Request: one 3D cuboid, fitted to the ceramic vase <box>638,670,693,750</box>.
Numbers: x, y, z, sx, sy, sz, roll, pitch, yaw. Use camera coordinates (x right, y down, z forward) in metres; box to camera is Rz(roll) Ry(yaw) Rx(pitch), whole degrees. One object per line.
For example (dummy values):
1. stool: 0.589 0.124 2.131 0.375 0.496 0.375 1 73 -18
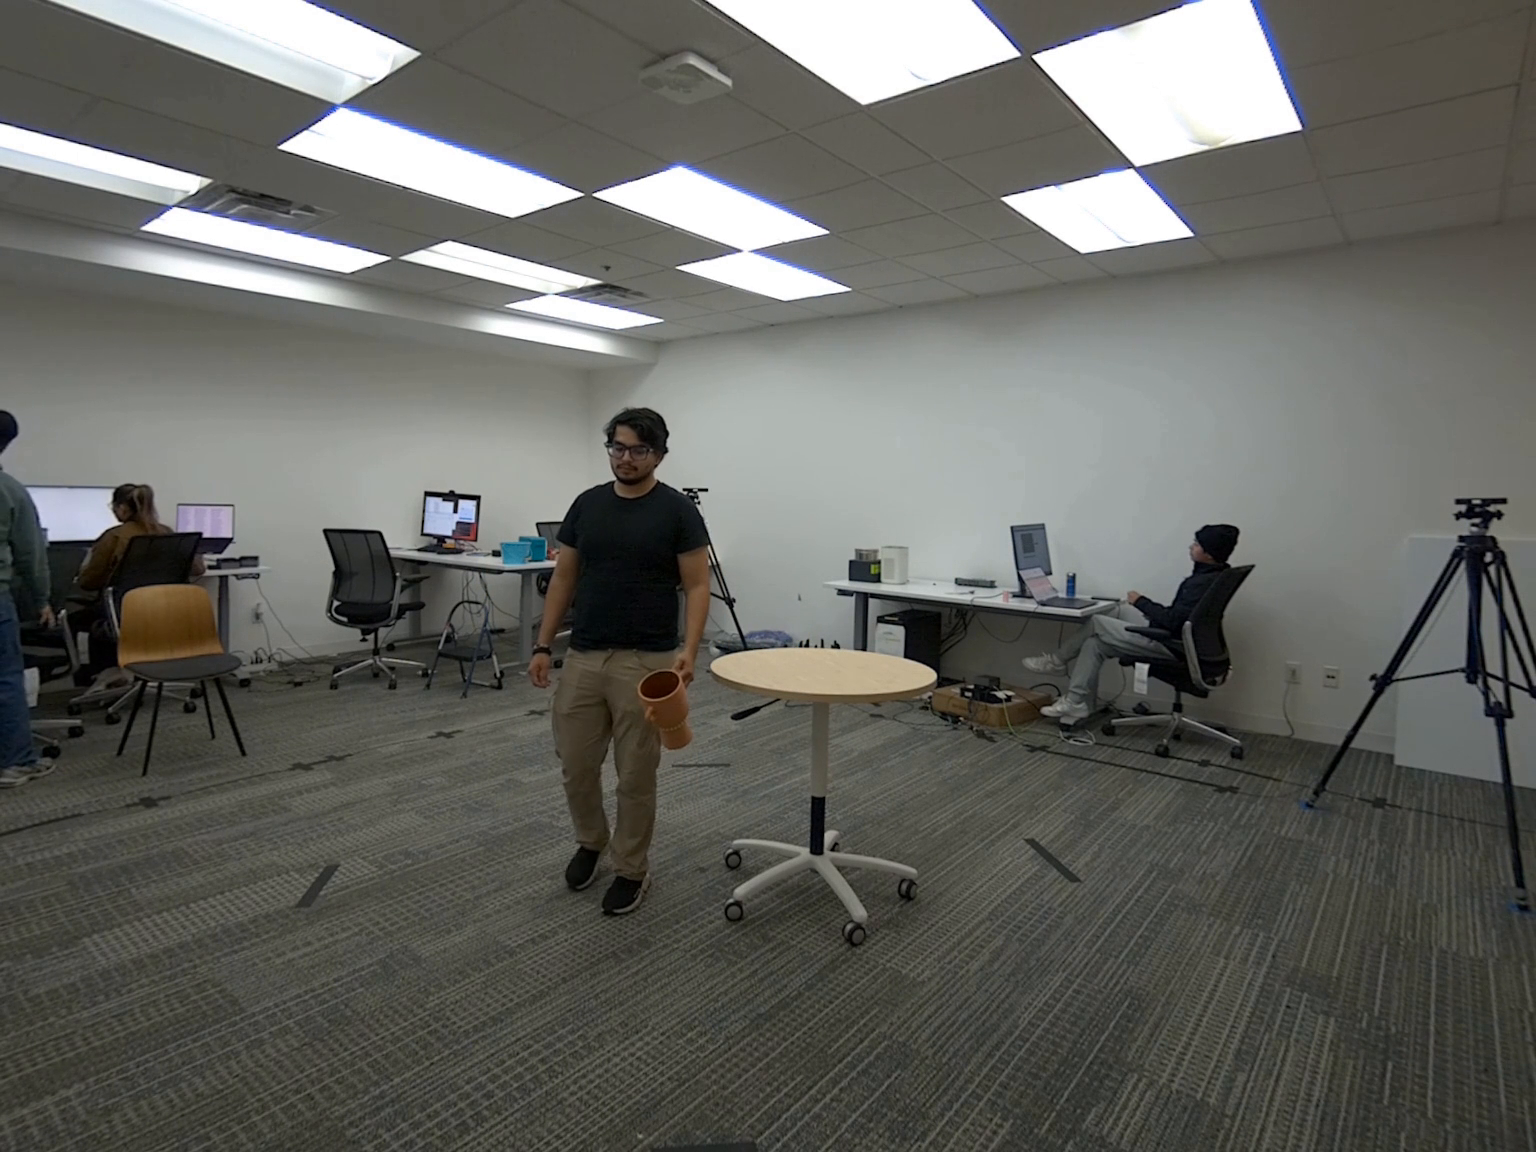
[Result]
1. ceramic vase: -0.306 0.401 2.524 0.157 0.213 0.140 -23 33 -17
